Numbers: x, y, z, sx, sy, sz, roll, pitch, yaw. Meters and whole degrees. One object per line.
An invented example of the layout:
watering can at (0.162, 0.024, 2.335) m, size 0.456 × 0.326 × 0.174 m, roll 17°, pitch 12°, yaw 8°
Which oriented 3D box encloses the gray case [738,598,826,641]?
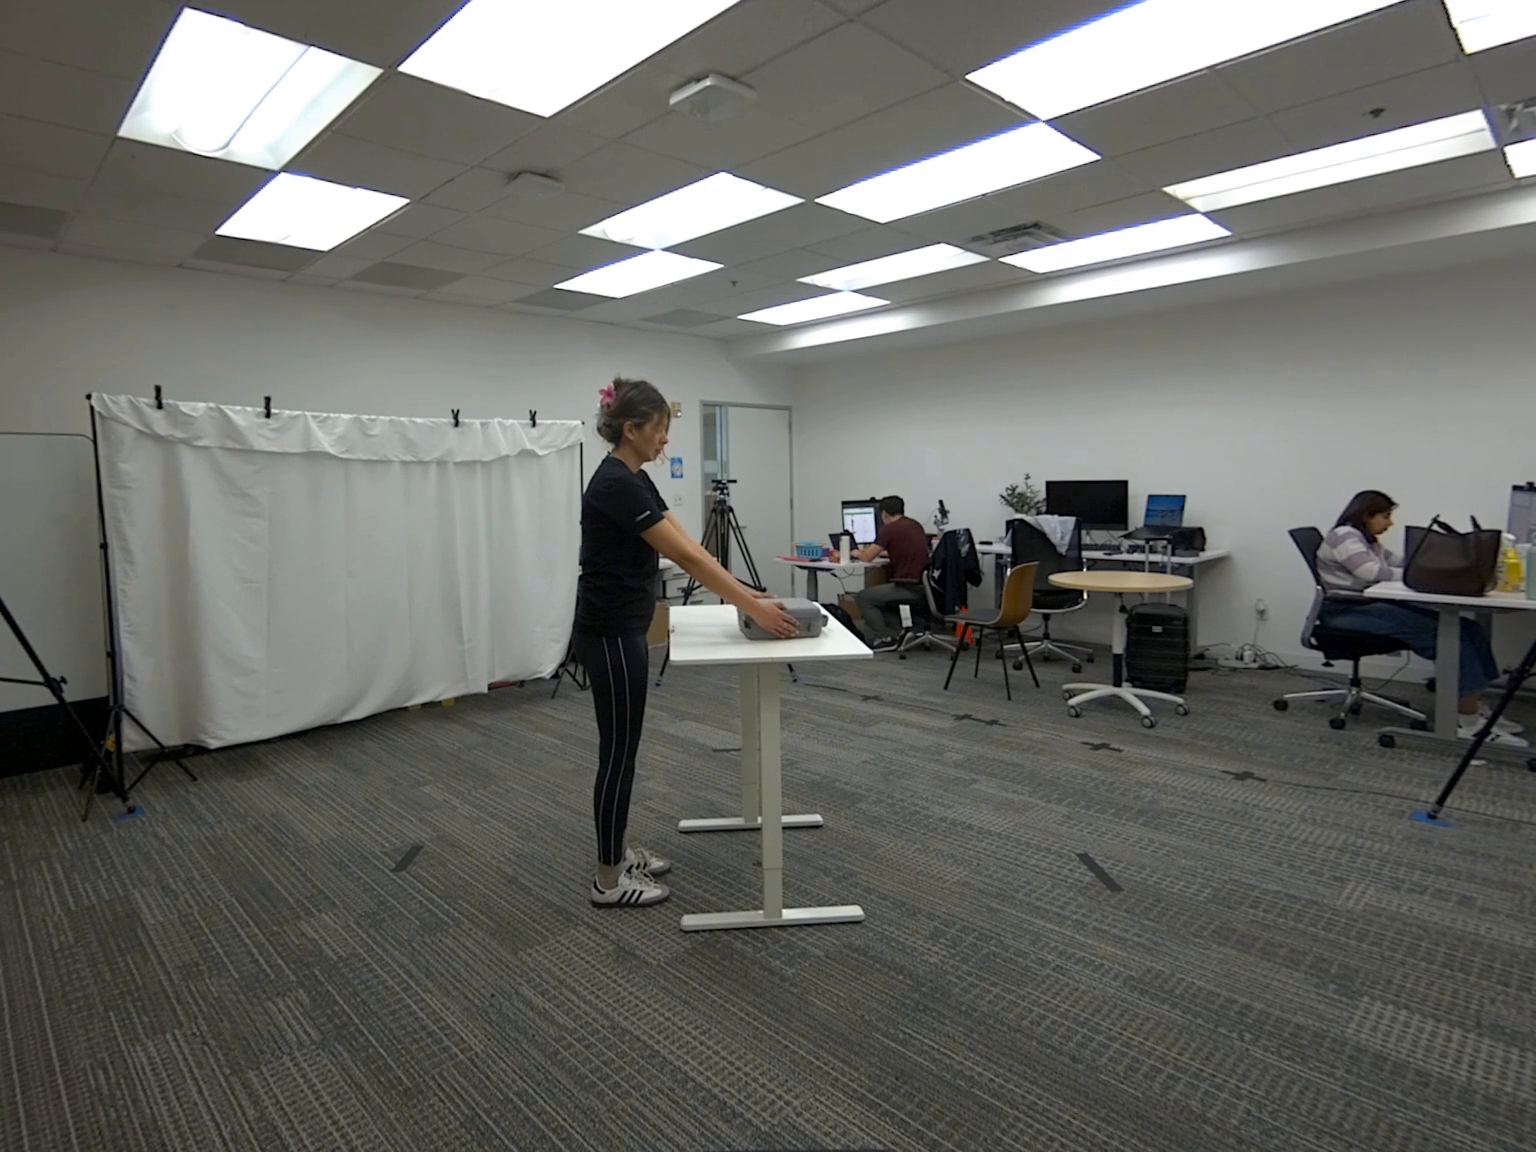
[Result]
gray case at (0.038, 0.141, 2.873) m, size 0.259 × 0.104 × 0.259 m, roll -1°, pitch 5°, yaw -7°
